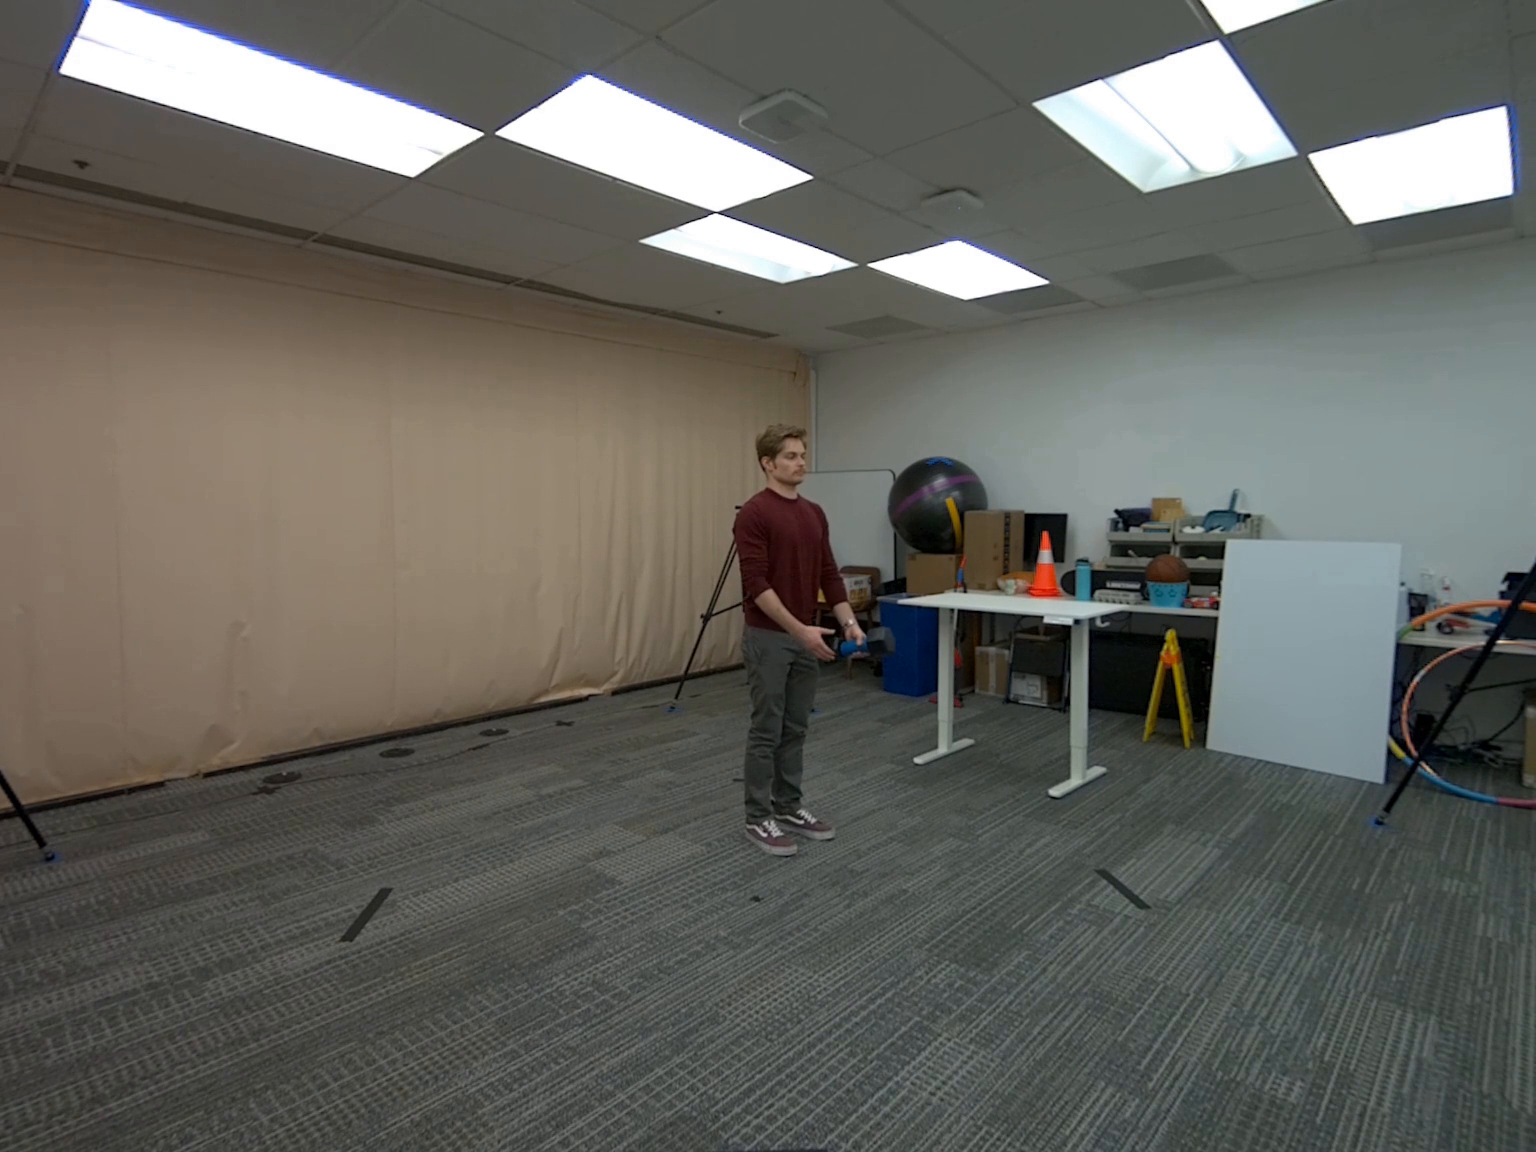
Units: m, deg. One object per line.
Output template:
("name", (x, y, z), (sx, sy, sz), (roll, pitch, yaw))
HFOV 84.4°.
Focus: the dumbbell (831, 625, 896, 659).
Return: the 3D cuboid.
("dumbbell", (0.358, 0.286, 3.388), (0.300, 0.122, 0.107), (-15, 12, 33))
